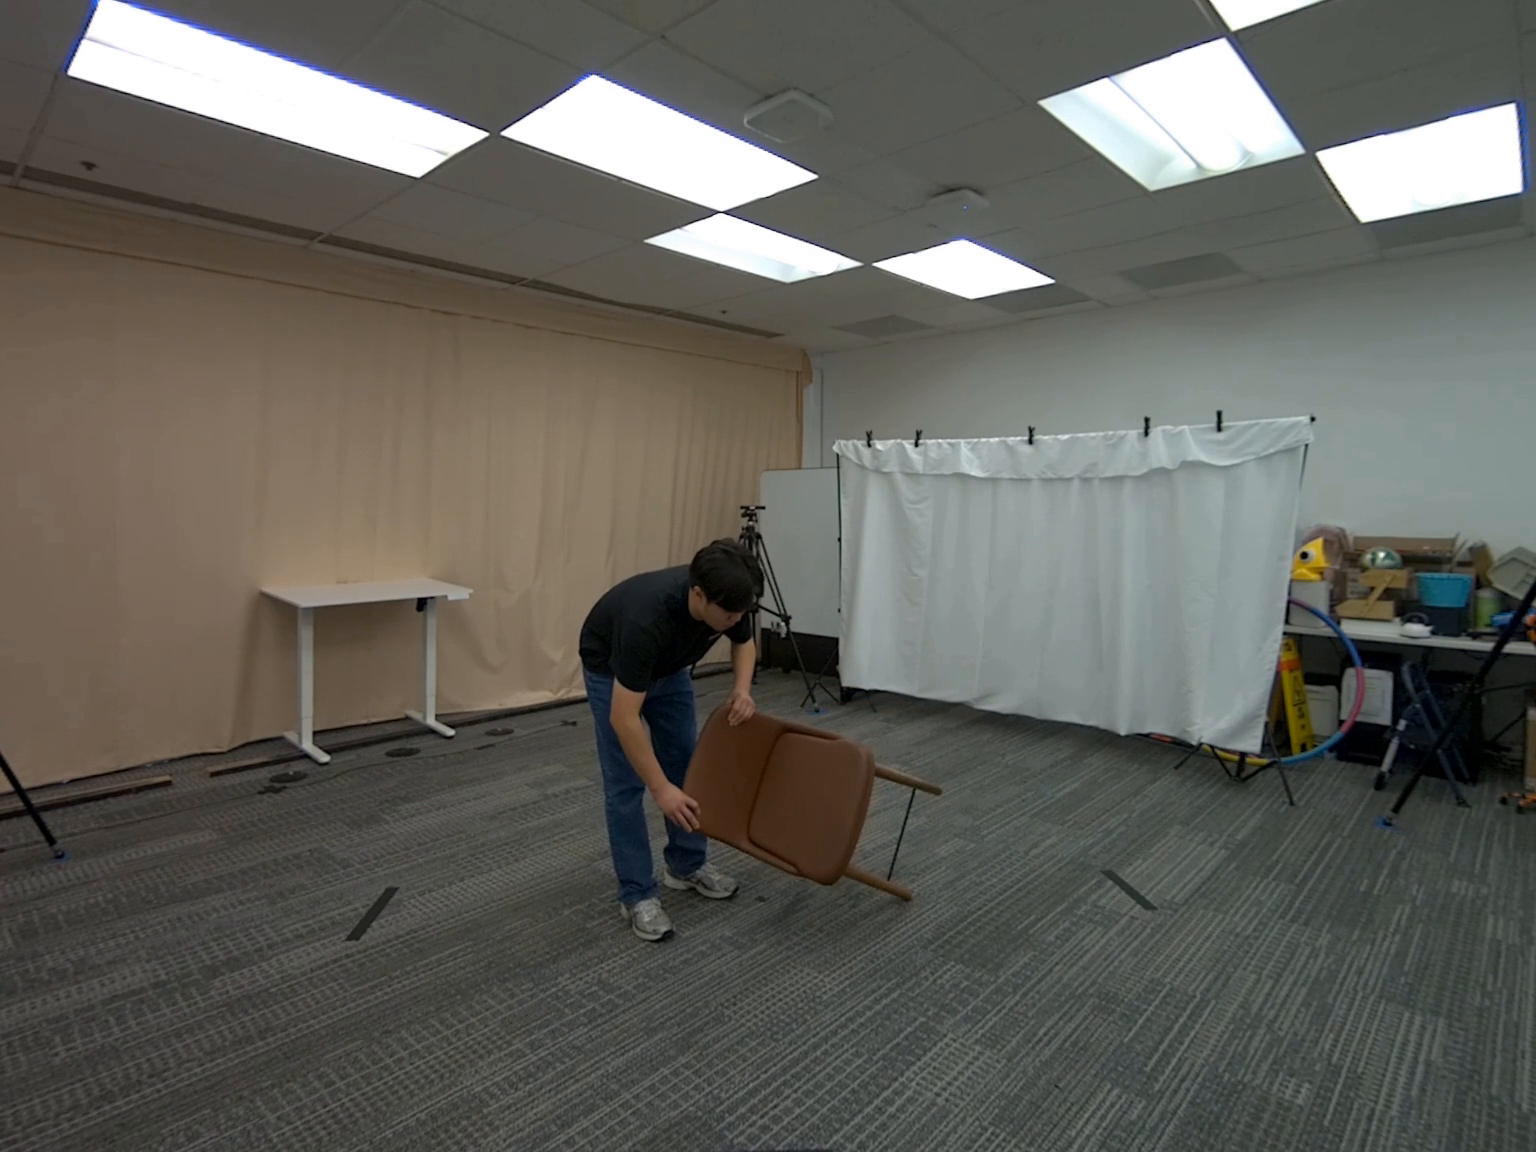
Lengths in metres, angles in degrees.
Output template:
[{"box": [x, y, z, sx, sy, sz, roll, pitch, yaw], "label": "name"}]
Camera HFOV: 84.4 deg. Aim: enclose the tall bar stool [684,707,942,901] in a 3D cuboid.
[{"box": [0.175, 0.769, 2.839, 0.484, 0.458, 0.857, 10, -17, 37], "label": "tall bar stool"}]
